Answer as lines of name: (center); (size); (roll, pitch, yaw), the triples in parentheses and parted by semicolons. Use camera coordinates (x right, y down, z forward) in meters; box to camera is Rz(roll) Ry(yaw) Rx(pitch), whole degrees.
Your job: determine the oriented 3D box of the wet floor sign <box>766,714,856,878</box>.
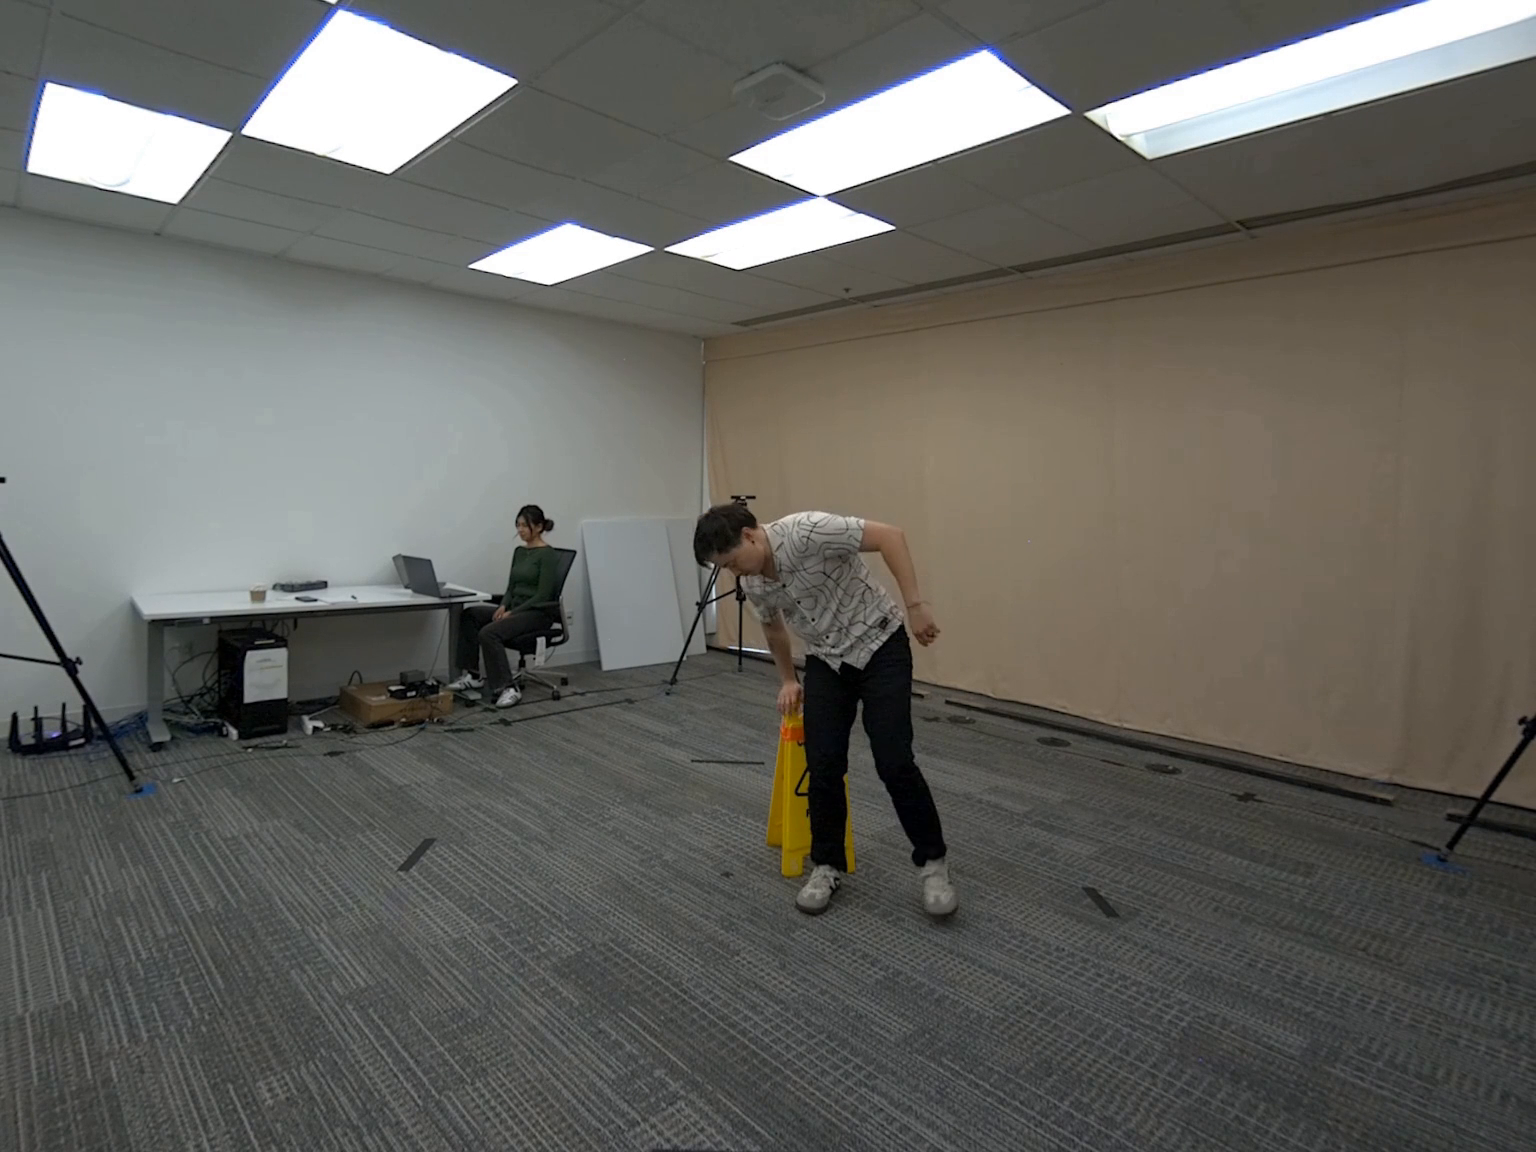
wet floor sign: (0.158, 0.769, 3.248); (0.280, 0.645, 0.293); (2, 3, -11)
